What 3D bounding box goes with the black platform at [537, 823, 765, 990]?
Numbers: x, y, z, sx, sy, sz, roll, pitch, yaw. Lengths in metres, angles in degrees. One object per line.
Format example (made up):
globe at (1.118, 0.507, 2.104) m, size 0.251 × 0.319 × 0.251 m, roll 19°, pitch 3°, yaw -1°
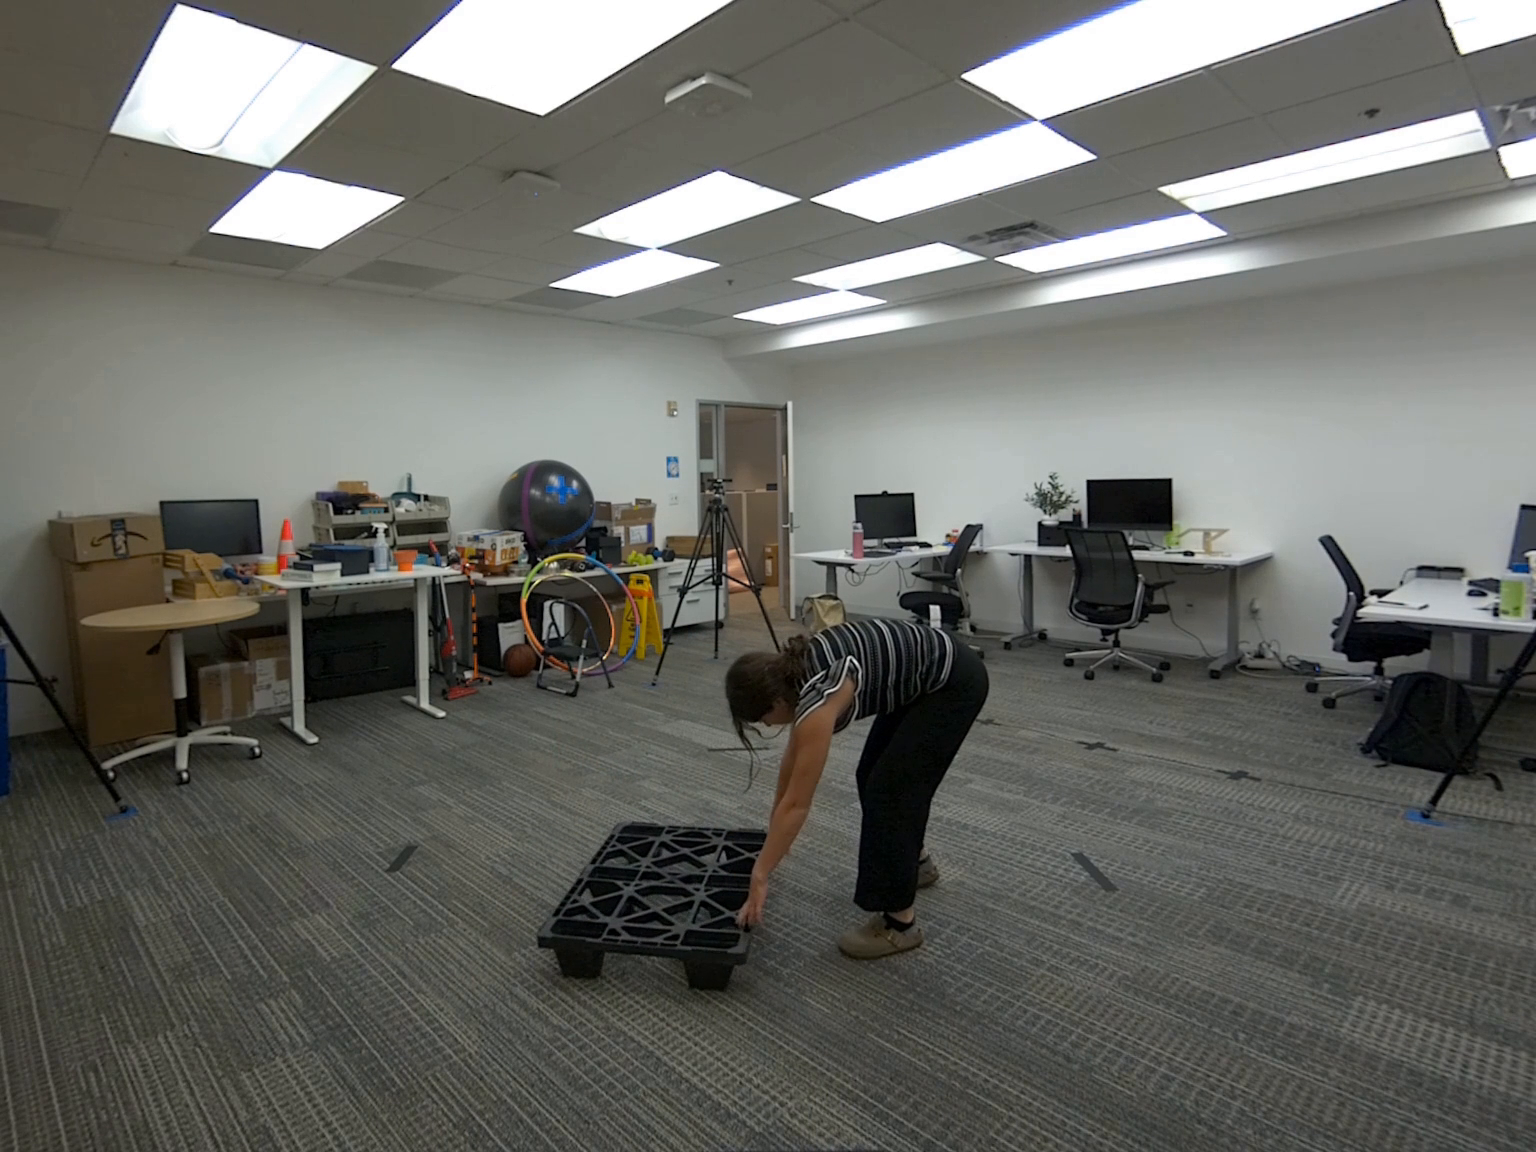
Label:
black platform at (-0.306, 1.026, 2.730) m, size 0.611 × 0.143 × 0.802 m, roll -1°, pitch 6°, yaw 8°
